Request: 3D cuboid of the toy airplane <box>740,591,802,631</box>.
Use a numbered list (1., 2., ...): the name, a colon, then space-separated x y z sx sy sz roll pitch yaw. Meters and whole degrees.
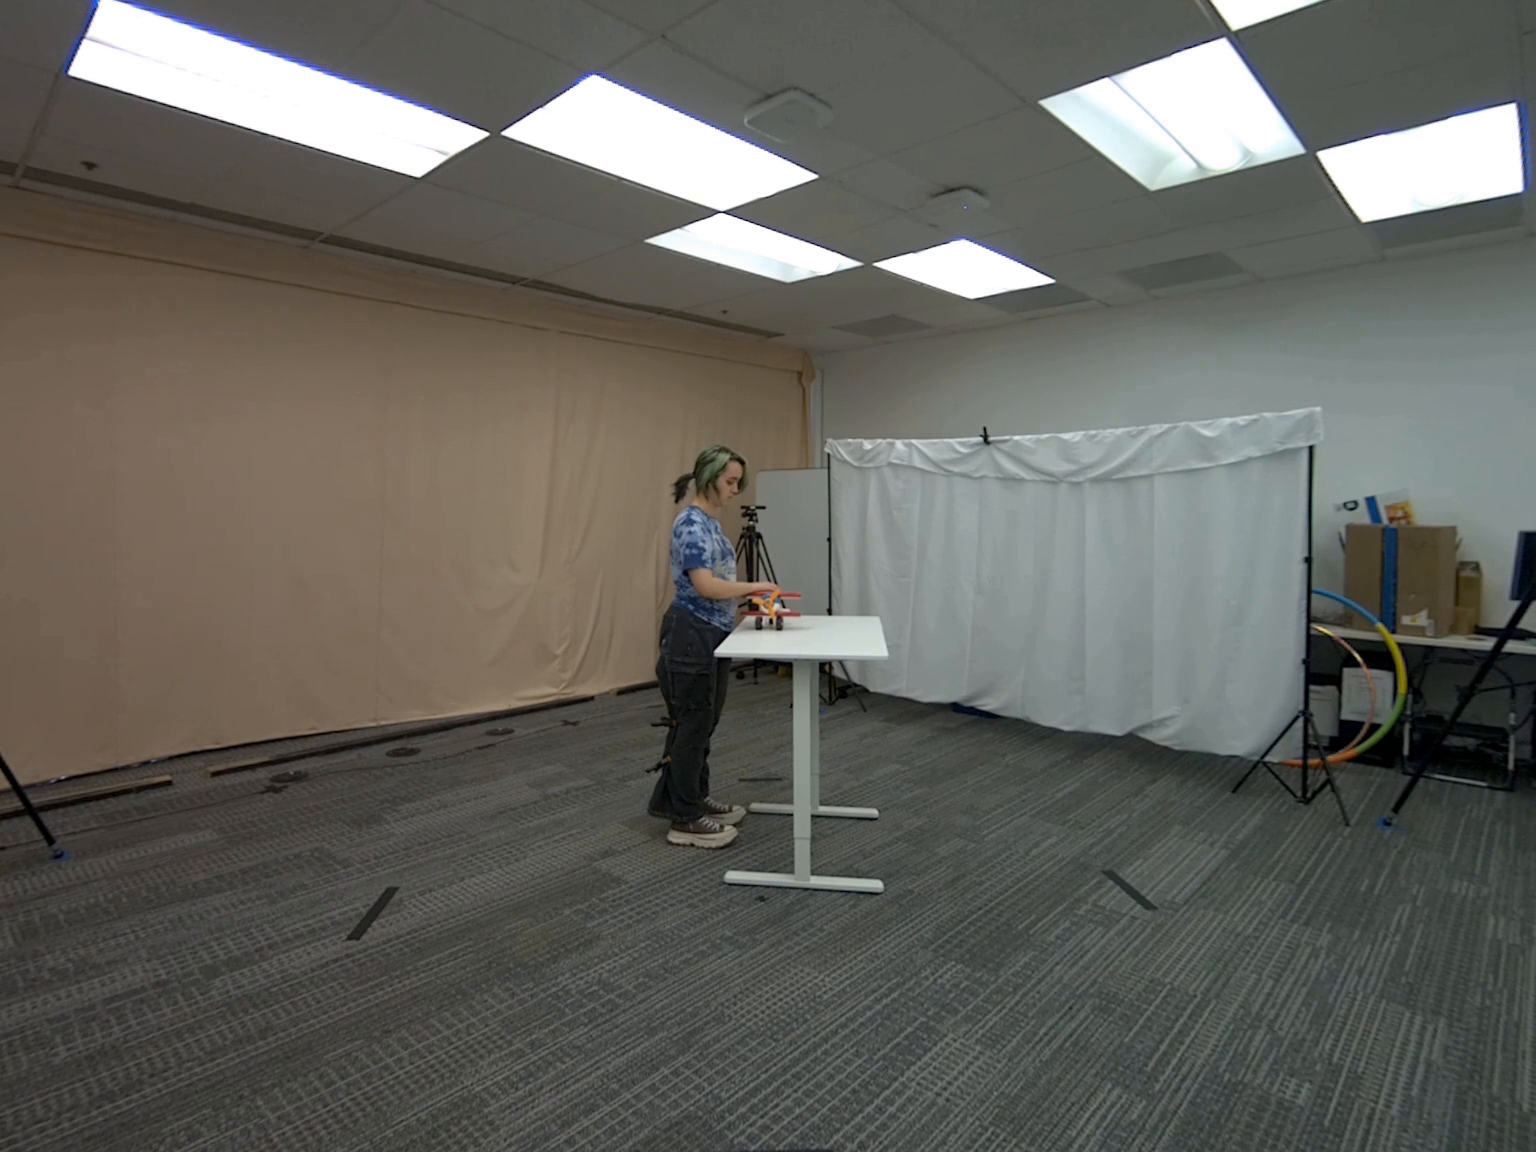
1. toy airplane: -0.003 0.142 3.543 0.246 0.156 0.265 -4 5 -19
